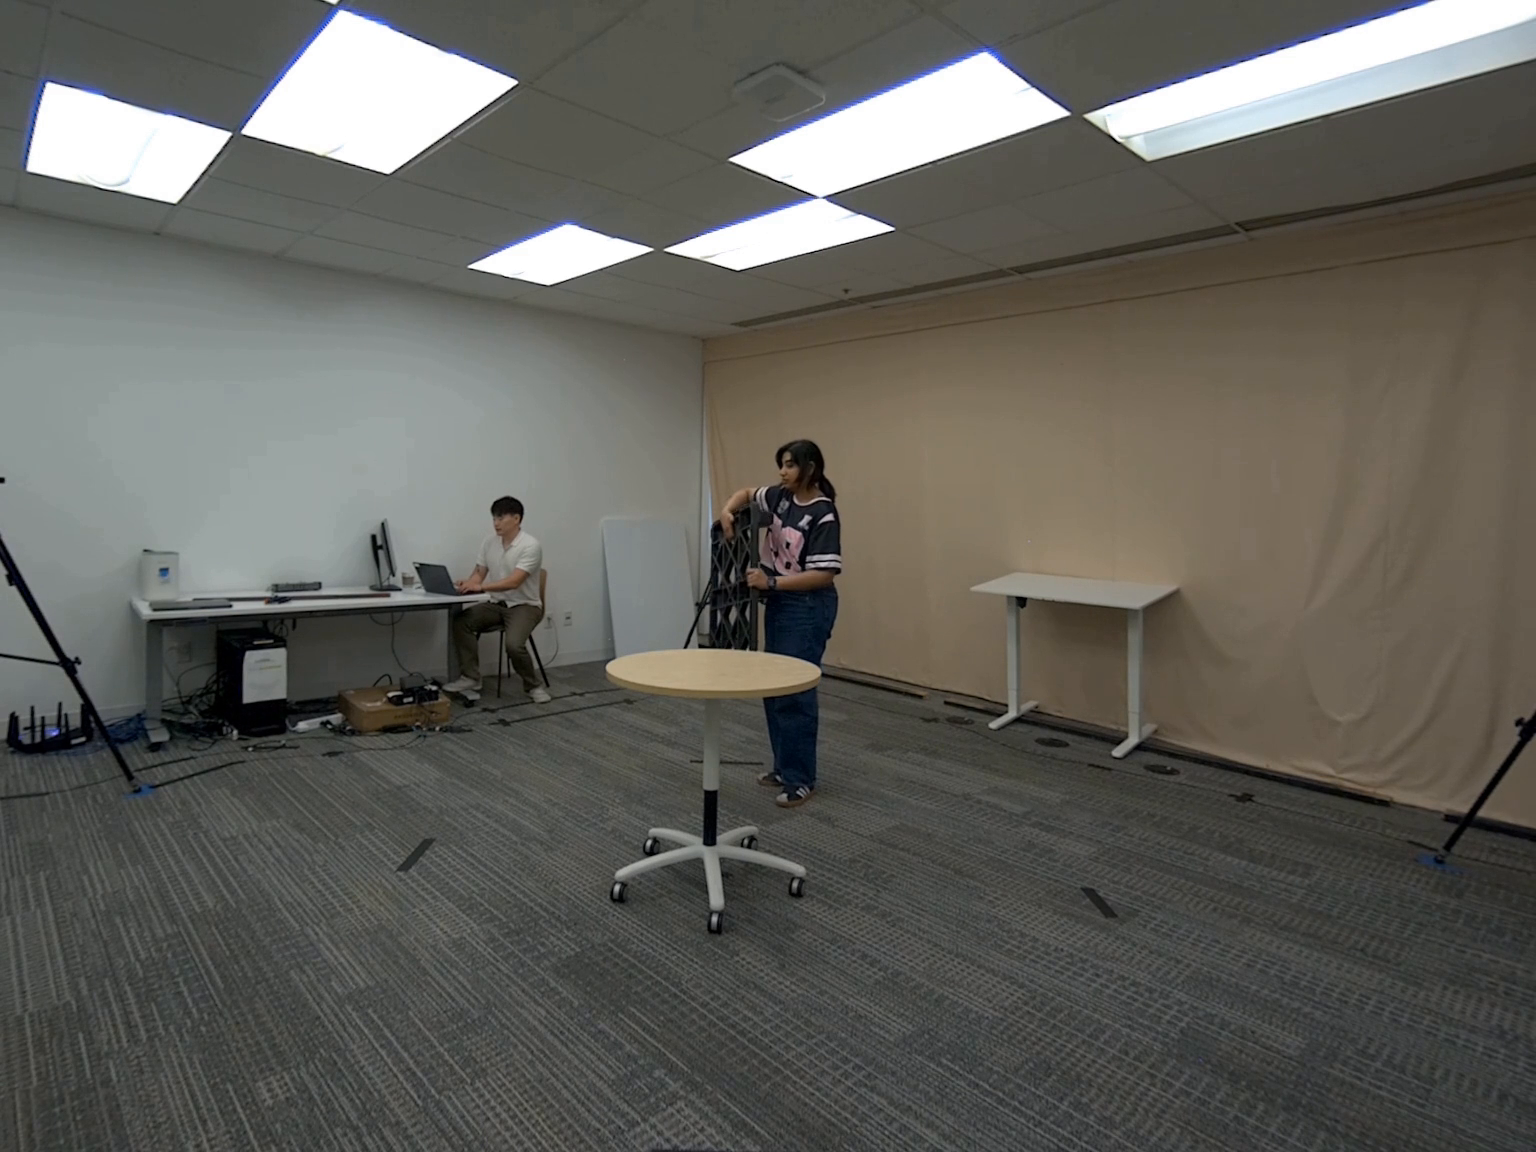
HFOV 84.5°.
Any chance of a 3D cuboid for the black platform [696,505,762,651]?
[{"bbox_3d":[-0.134,0.079,4.058,0.141,0.811,0.611,5,-9,-20],"label":"black platform"}]
